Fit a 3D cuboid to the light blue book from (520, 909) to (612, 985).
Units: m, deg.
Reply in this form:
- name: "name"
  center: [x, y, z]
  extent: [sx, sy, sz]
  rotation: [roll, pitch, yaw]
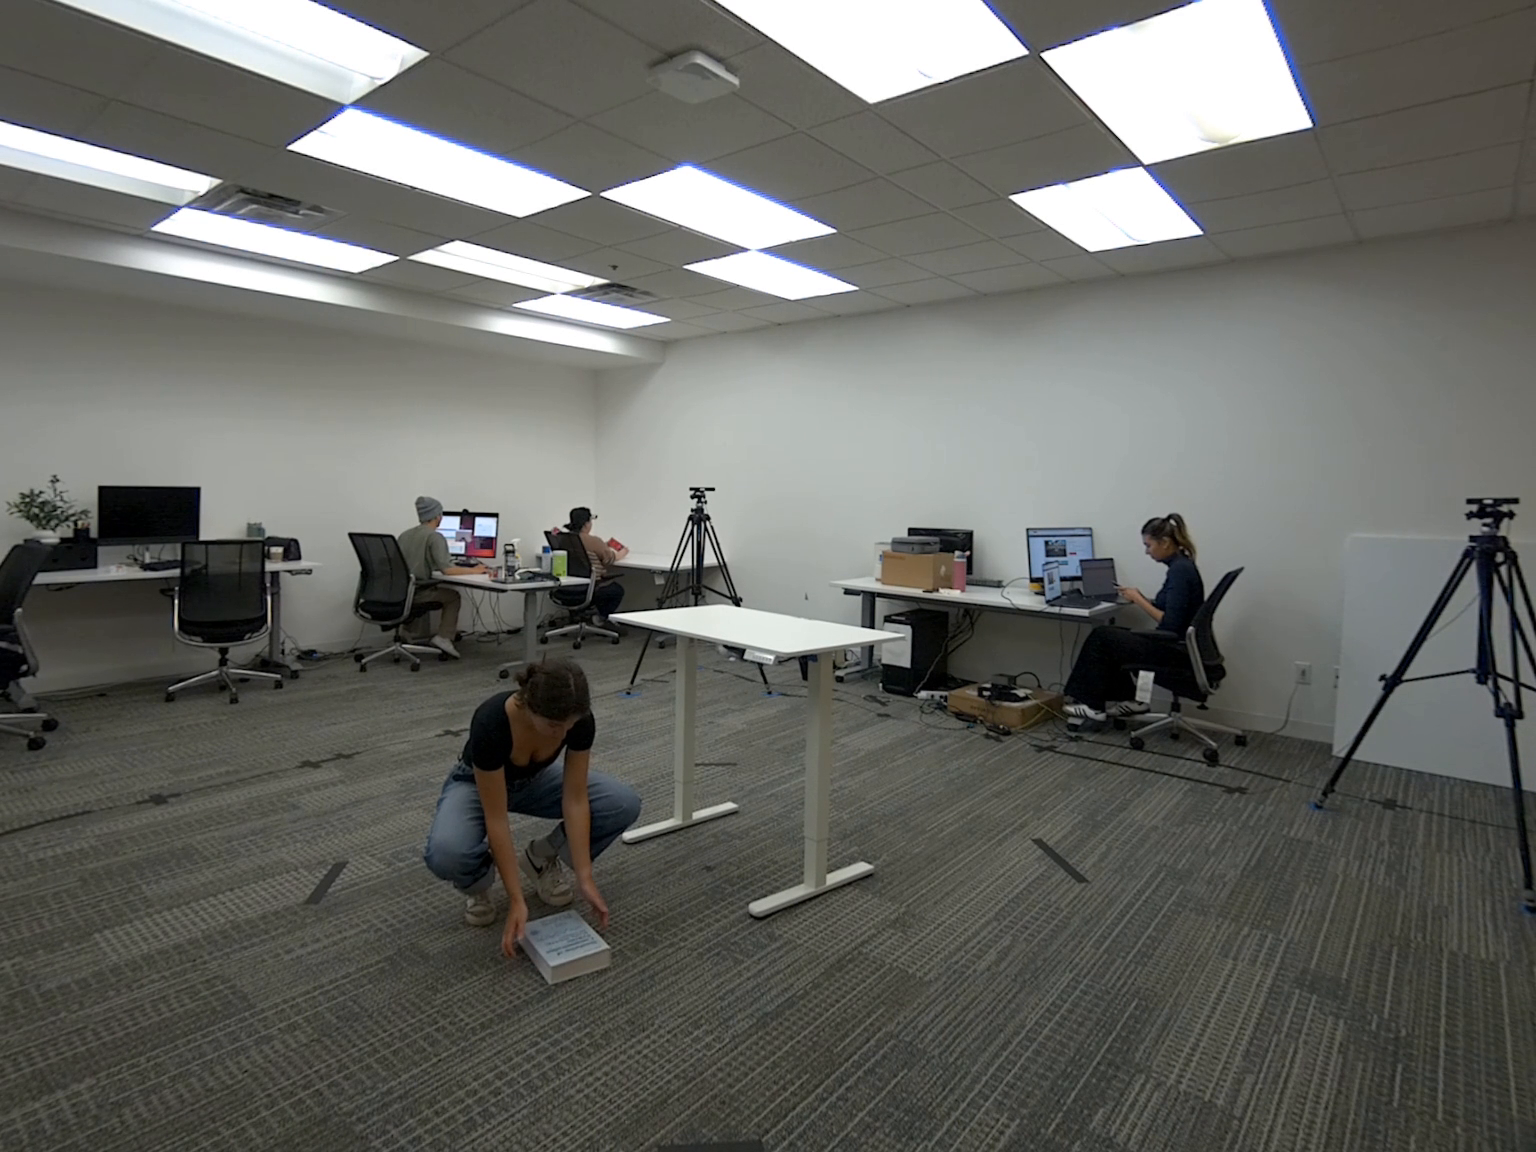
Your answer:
- name: "light blue book"
  center: [-0.613, 1.092, 2.507]
  extent: [0.186, 0.059, 0.269]
  rotation: [-4, 7, -35]
